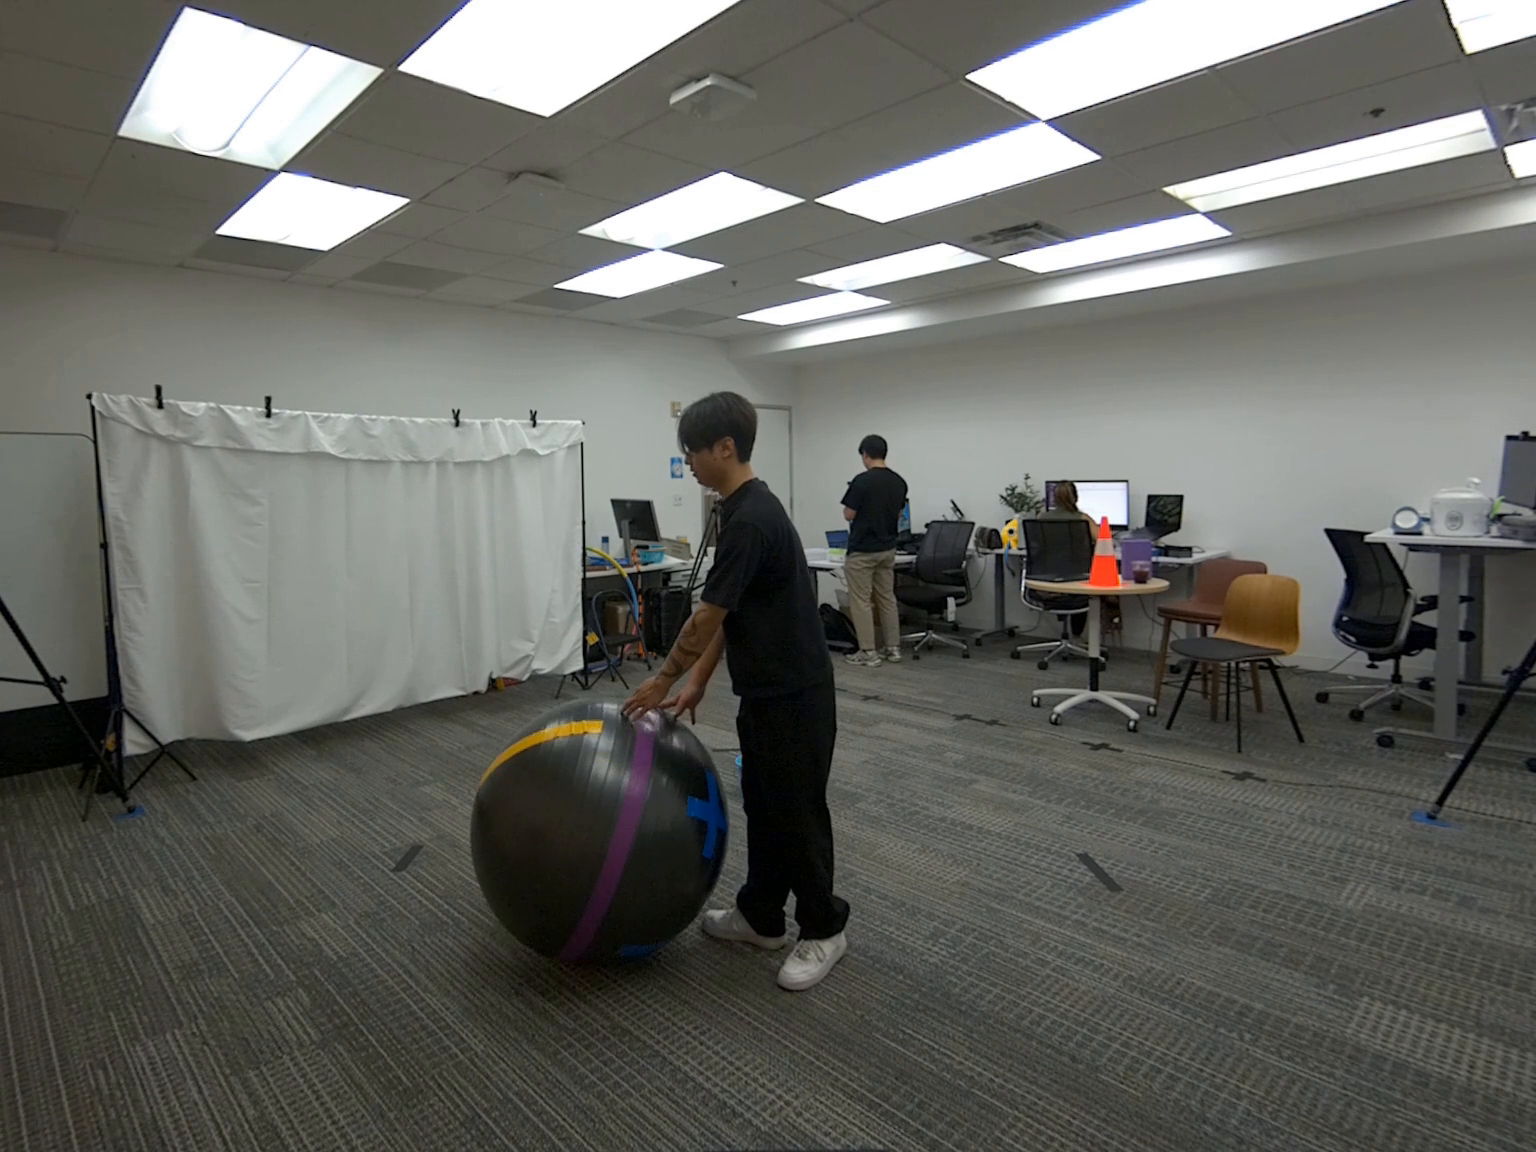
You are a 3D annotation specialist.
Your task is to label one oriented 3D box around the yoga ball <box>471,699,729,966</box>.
[{"bbox_3d":[-0.510,0.758,2.554,0.757,0.755,0.762,-1,5,-2],"label":"yoga ball"}]
